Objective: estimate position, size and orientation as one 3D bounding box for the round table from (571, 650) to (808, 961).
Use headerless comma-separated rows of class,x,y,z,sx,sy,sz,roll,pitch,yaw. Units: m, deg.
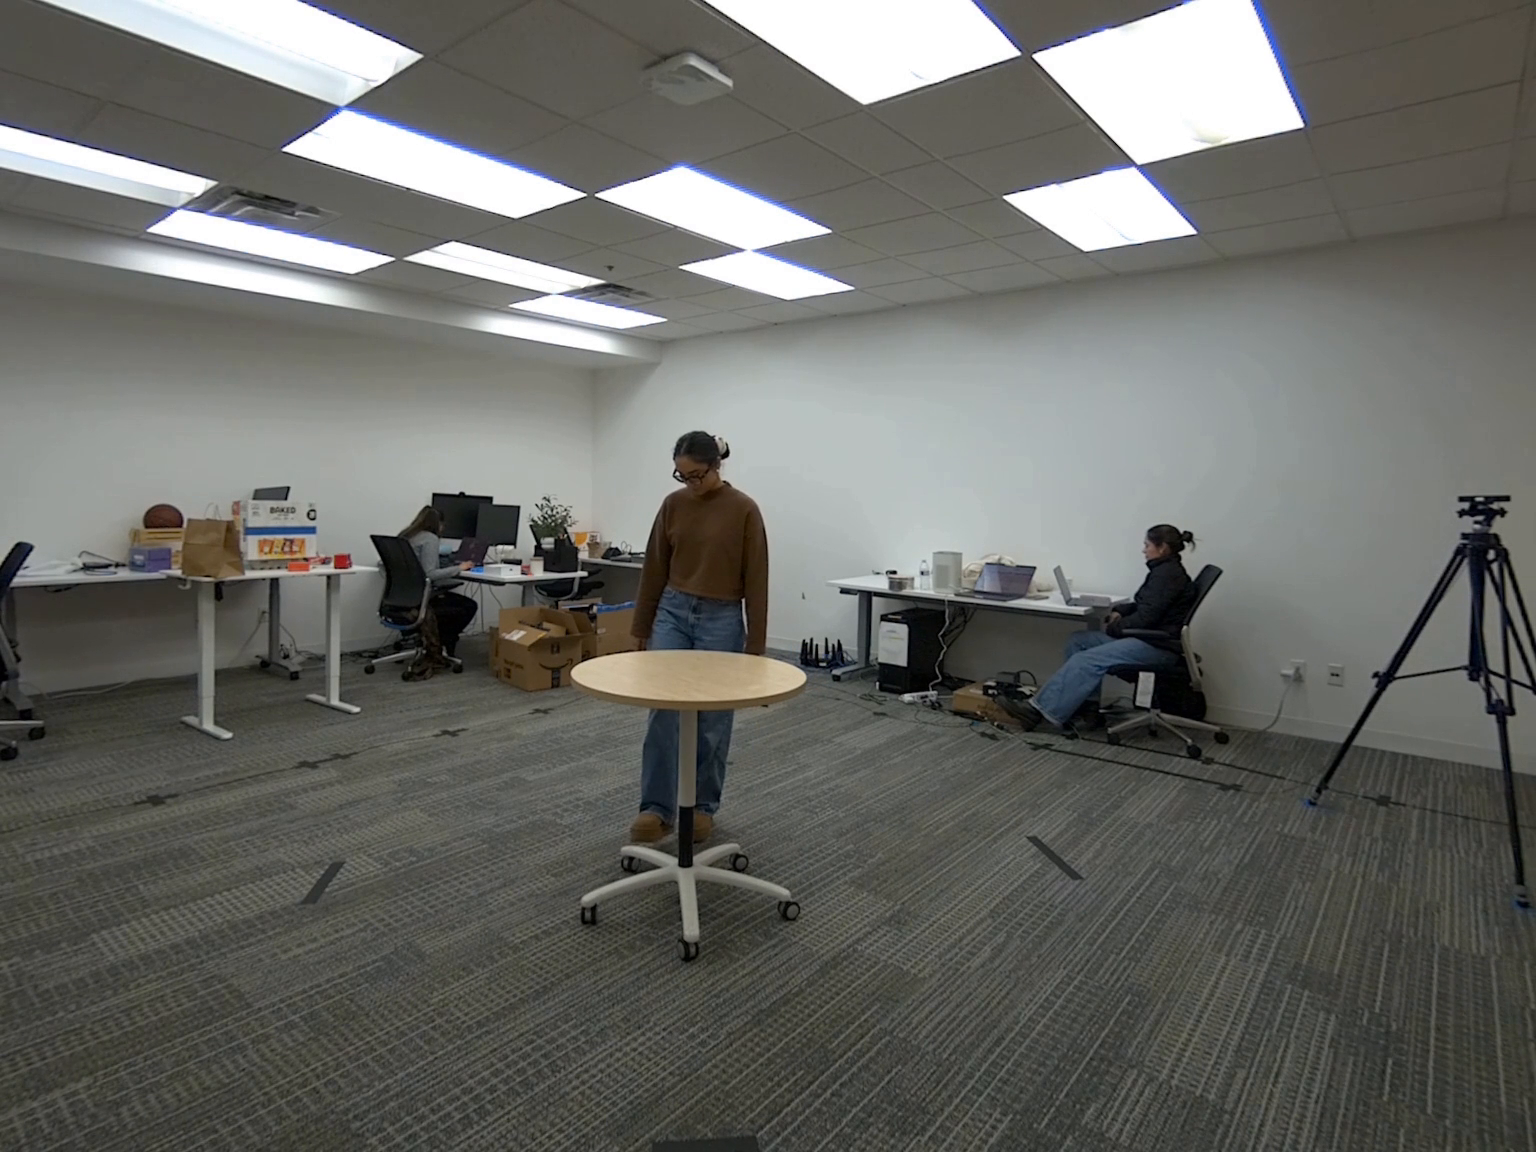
round table,-0.272,0.705,2.809,0.763,0.791,0.768,1,4,-2
